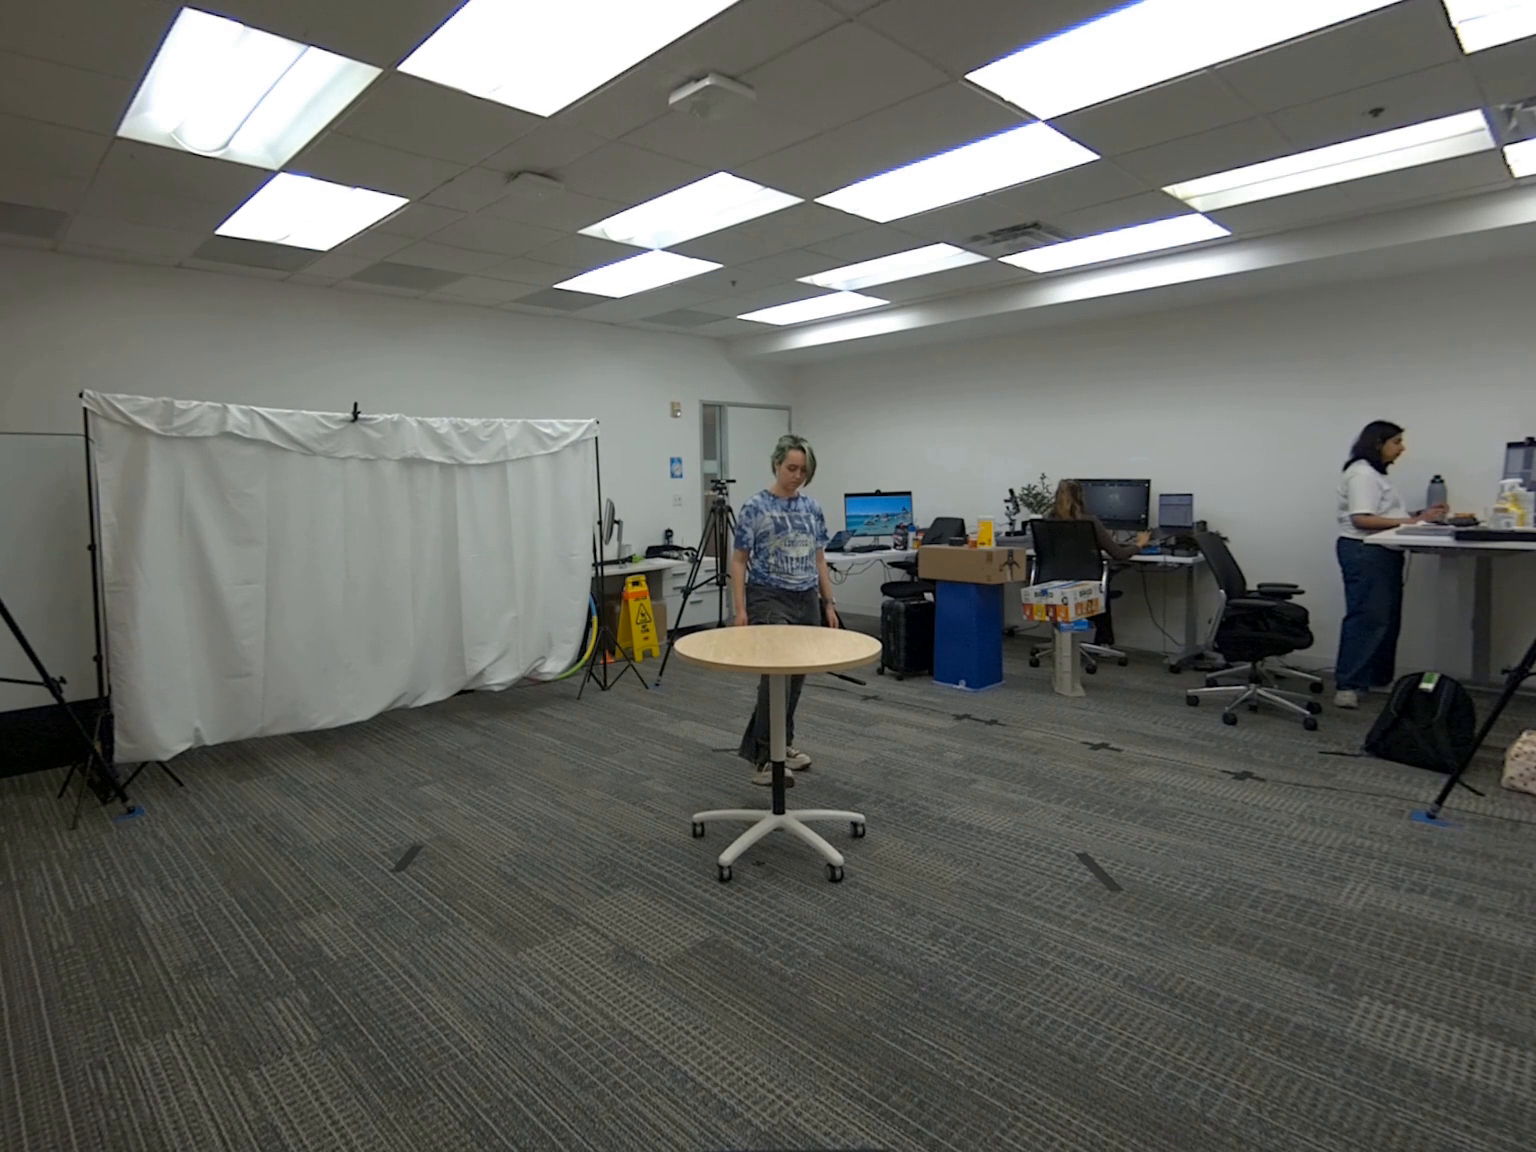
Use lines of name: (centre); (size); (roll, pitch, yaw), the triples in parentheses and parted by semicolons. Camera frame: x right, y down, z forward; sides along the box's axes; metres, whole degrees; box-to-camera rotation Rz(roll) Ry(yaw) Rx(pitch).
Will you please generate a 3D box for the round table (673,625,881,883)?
round table: (0.036, 0.647, 3.198); (0.763, 0.791, 0.768); (-1, 5, -2)
